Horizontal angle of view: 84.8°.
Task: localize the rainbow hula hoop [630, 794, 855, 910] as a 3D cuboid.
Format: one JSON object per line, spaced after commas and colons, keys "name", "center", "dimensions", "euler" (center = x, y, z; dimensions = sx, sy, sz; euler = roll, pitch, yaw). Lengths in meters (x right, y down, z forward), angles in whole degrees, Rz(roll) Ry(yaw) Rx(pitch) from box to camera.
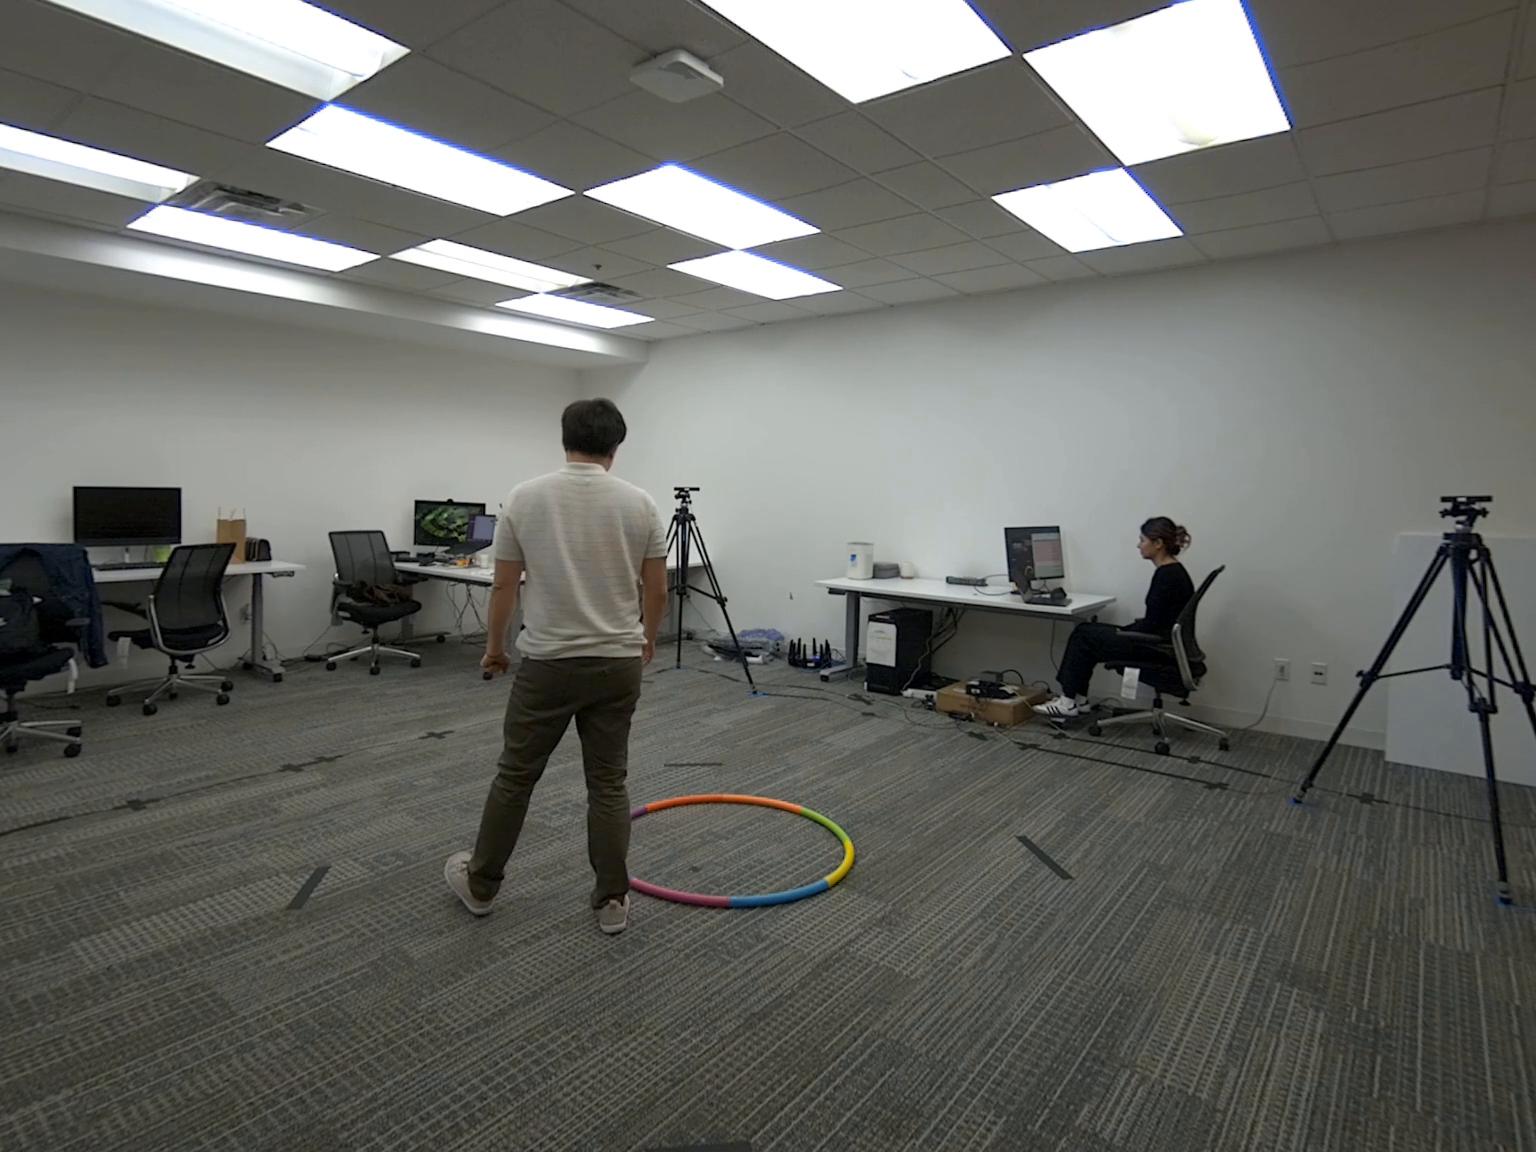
{"name": "rainbow hula hoop", "center": [-0.173, 1.020, 3.294], "dimensions": [0.978, 0.035, 0.984], "euler": [1, 6, -2]}
